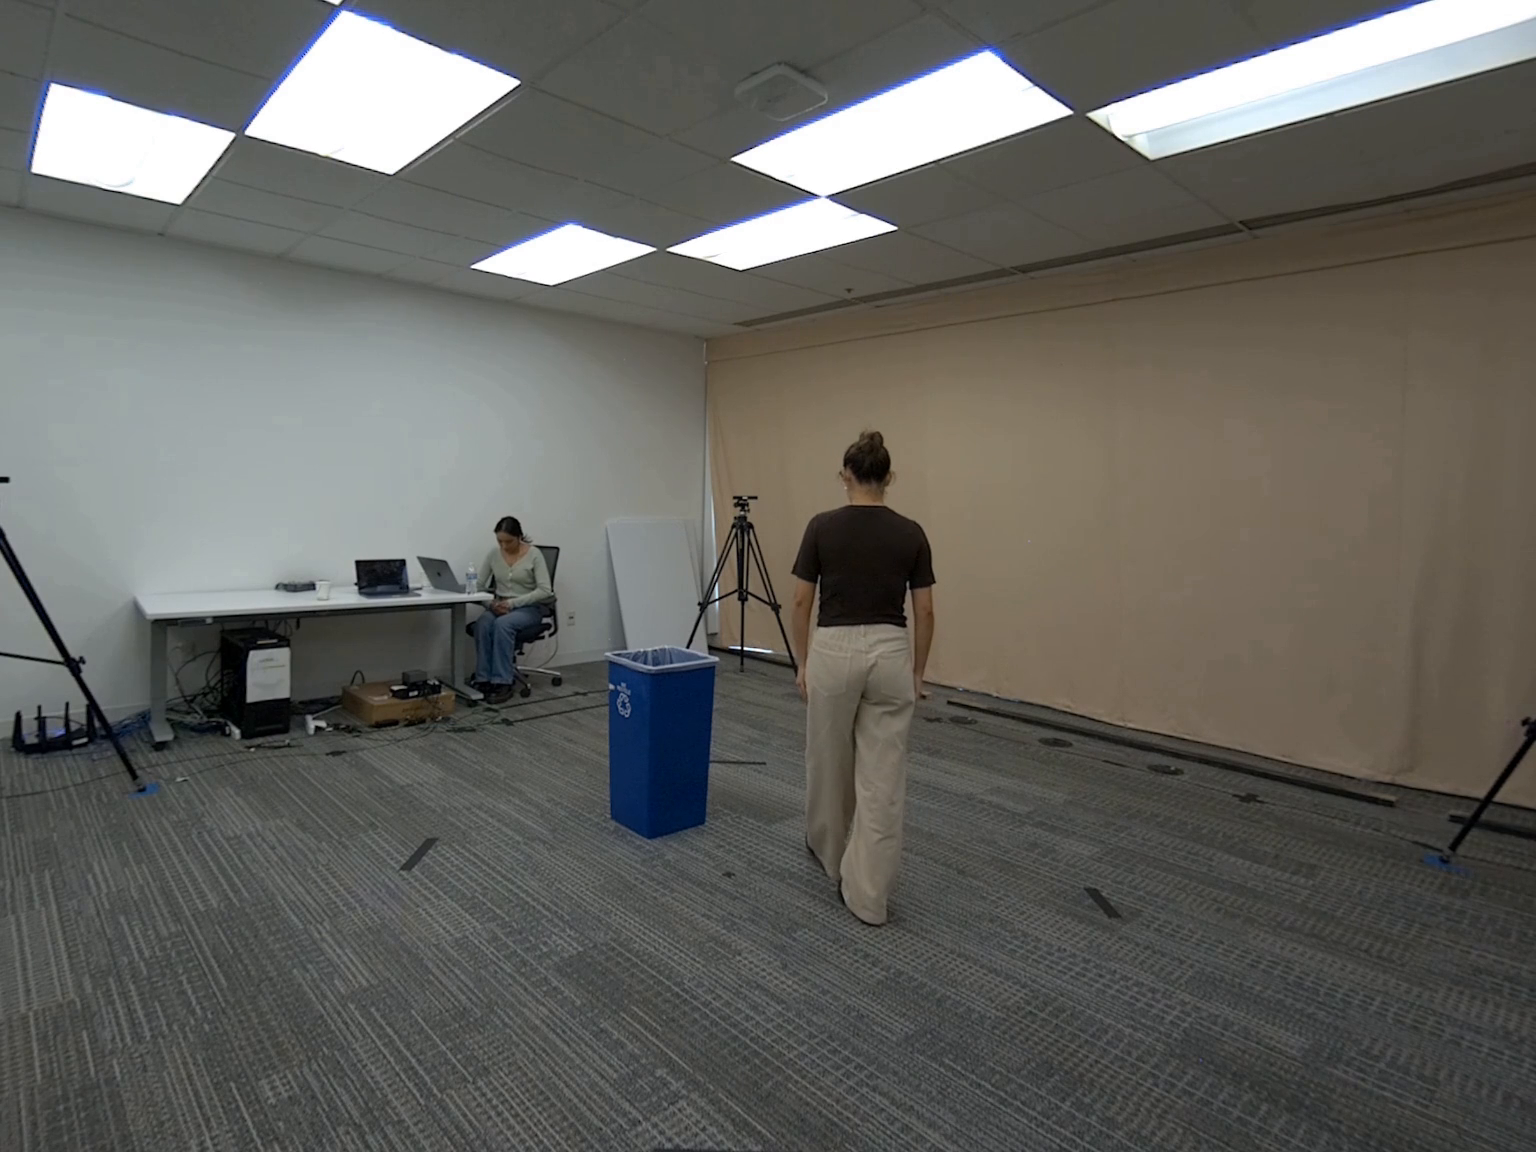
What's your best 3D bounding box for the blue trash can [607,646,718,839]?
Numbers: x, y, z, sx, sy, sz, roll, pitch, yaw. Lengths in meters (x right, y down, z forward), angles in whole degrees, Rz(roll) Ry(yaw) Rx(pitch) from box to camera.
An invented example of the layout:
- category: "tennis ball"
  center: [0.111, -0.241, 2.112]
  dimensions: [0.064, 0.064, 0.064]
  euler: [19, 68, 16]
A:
- category: "blue trash can"
  center: [-0.472, 0.694, 3.586]
  dimensions: [0.365, 0.712, 0.388]
  euler: [-1, 5, -41]
